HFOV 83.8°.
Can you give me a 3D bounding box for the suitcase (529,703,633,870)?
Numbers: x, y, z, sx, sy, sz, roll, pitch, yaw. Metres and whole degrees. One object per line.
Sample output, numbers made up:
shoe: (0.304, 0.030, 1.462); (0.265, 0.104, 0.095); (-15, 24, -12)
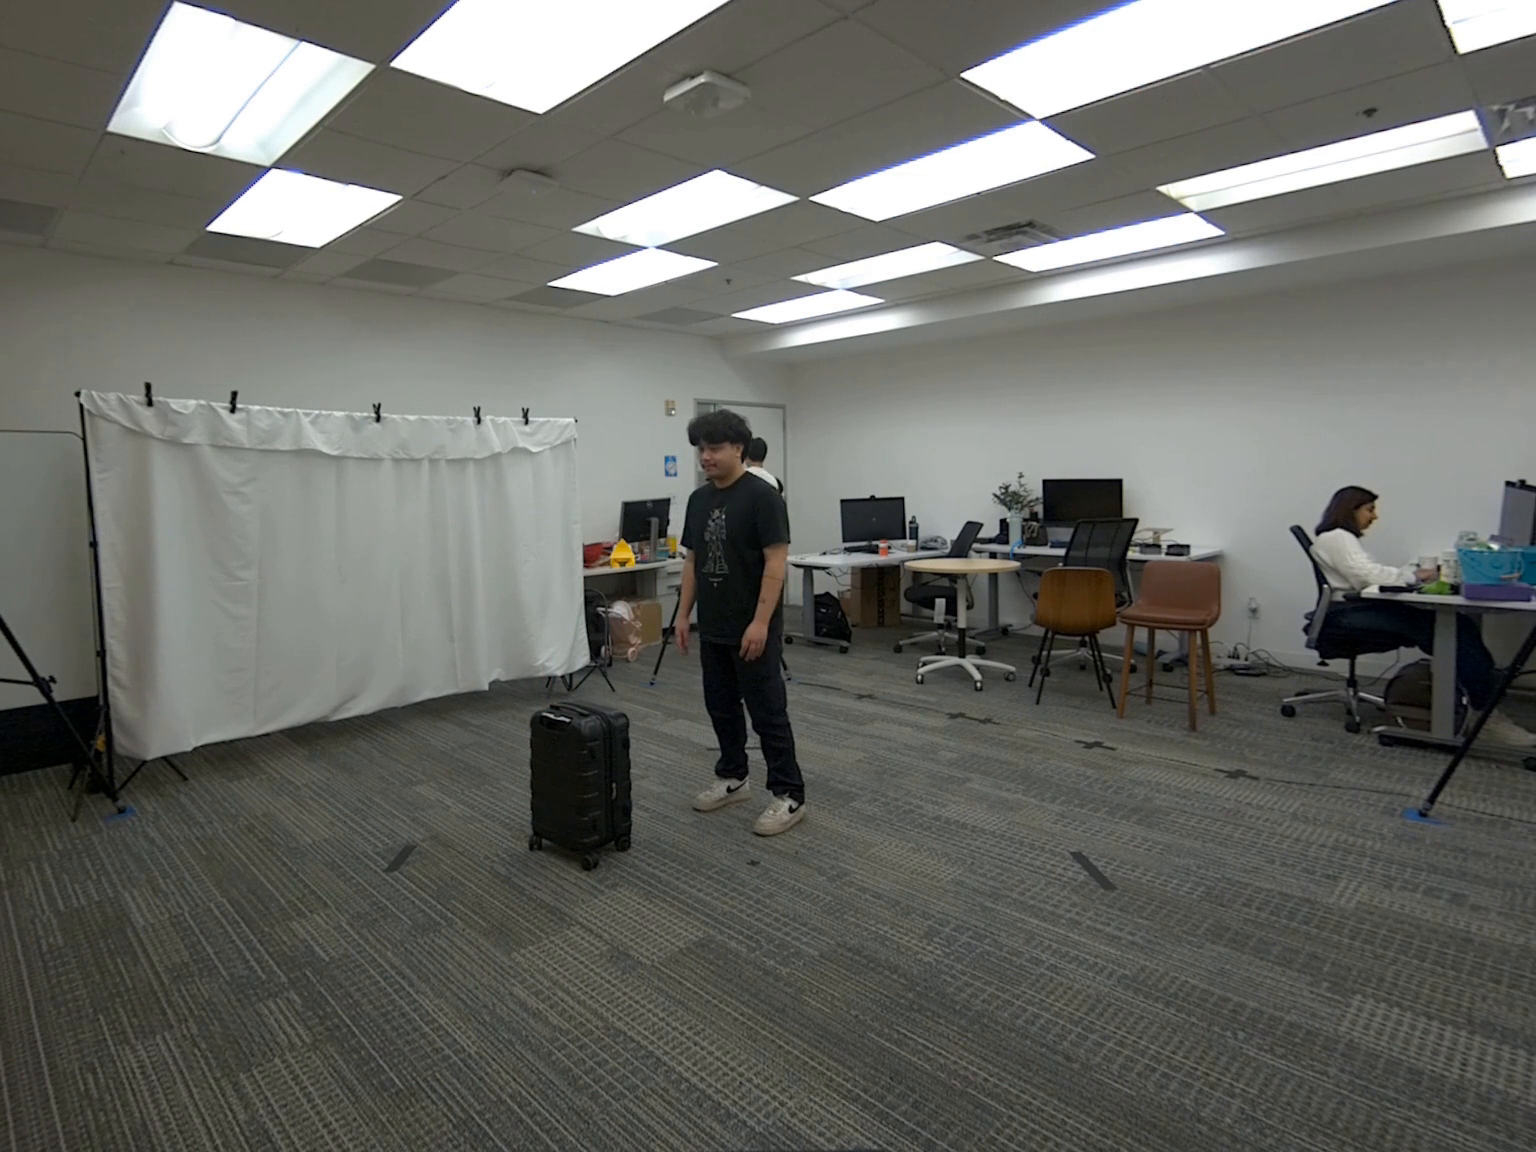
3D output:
suitcase: (-0.717, 0.763, 3.253); (0.386, 0.548, 0.241); (1, 2, 40)
